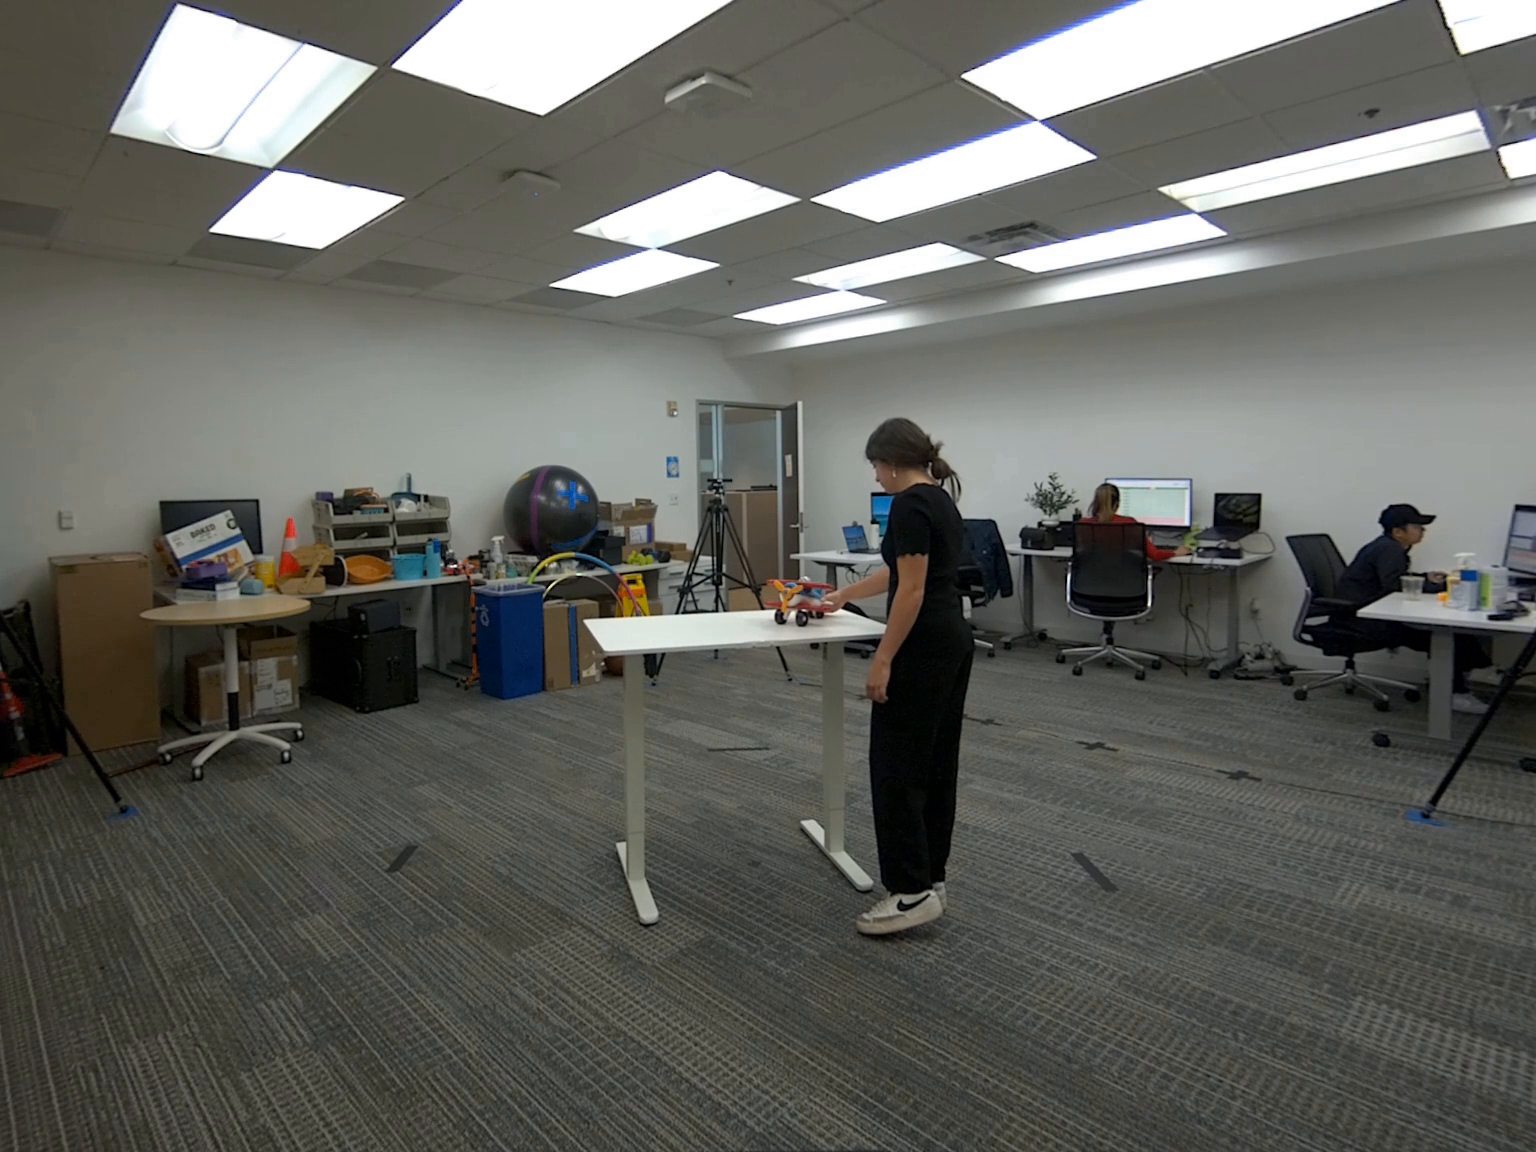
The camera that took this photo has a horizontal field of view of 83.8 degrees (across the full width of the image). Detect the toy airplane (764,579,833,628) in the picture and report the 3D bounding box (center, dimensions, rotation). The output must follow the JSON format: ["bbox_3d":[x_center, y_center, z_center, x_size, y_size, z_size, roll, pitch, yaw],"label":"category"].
[{"bbox_3d":[0.112,0.089,3.077,0.252,0.155,0.259,0,7,4],"label":"toy airplane"}]
